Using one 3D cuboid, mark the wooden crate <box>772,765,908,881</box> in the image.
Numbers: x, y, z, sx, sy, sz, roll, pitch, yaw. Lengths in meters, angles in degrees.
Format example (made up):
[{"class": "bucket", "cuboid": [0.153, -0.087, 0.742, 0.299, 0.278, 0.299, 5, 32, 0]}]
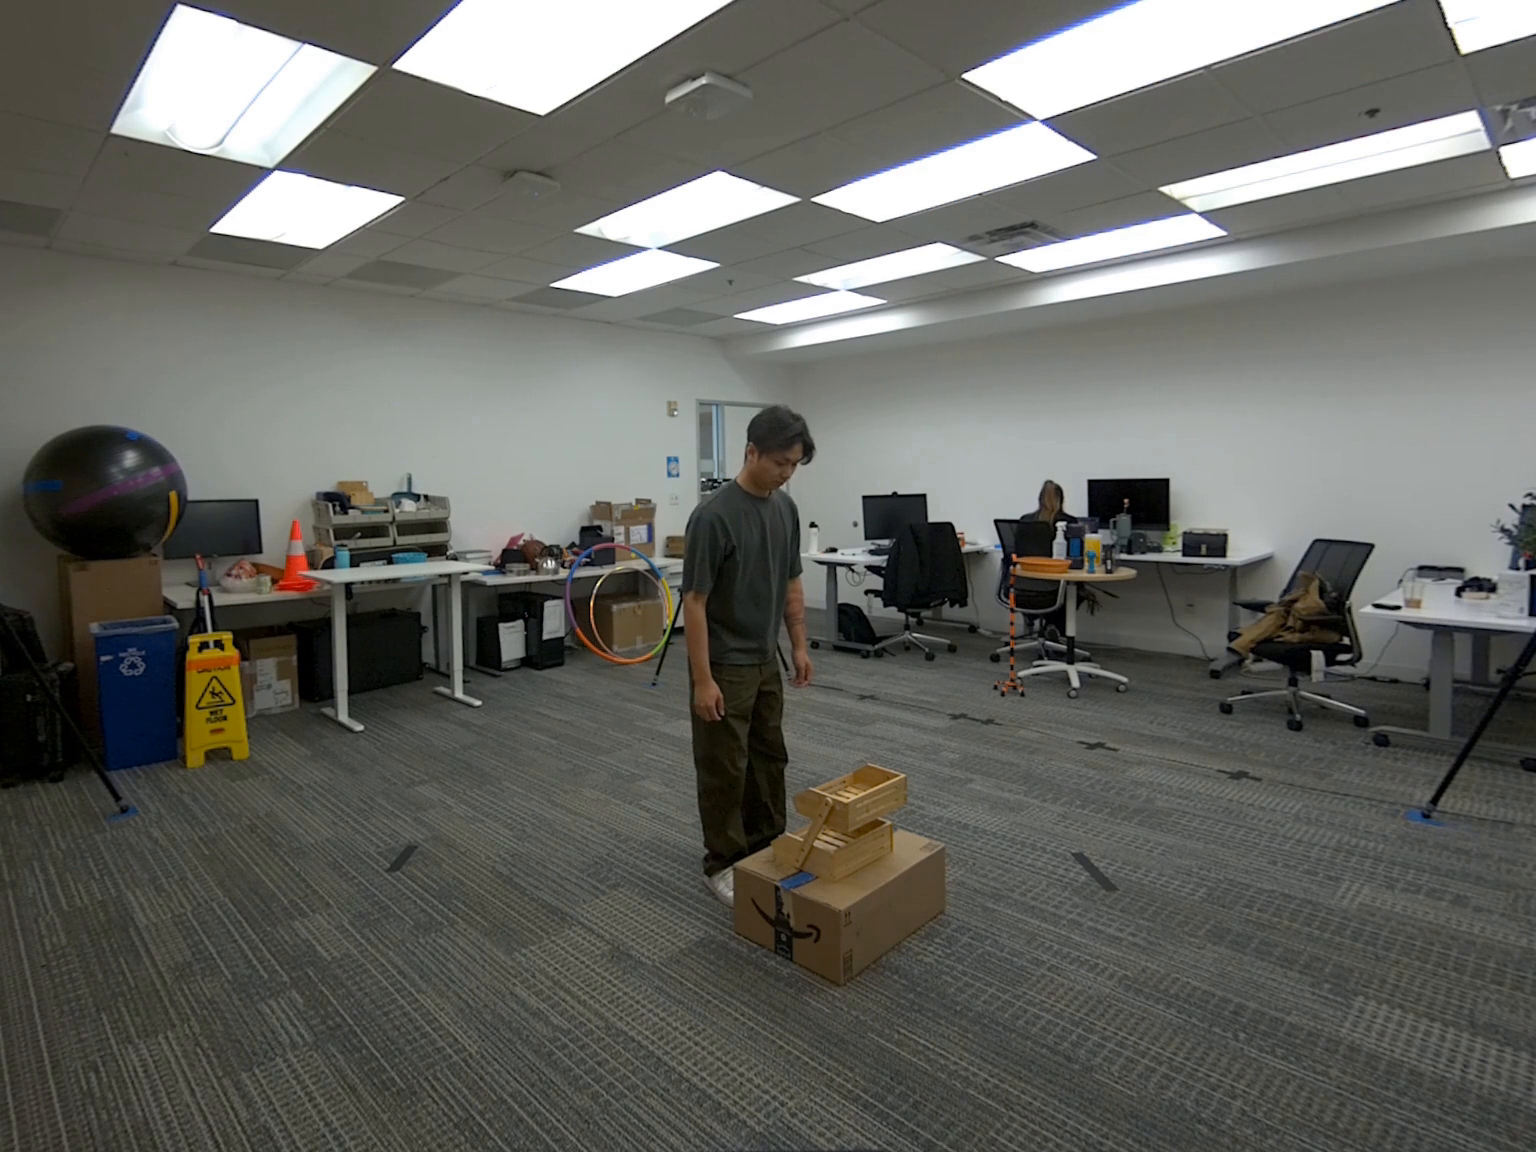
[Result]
[{"class": "wooden crate", "cuboid": [0.227, 0.745, 2.663, 0.311, 0.272, 0.316, 6, 9, 44]}]
